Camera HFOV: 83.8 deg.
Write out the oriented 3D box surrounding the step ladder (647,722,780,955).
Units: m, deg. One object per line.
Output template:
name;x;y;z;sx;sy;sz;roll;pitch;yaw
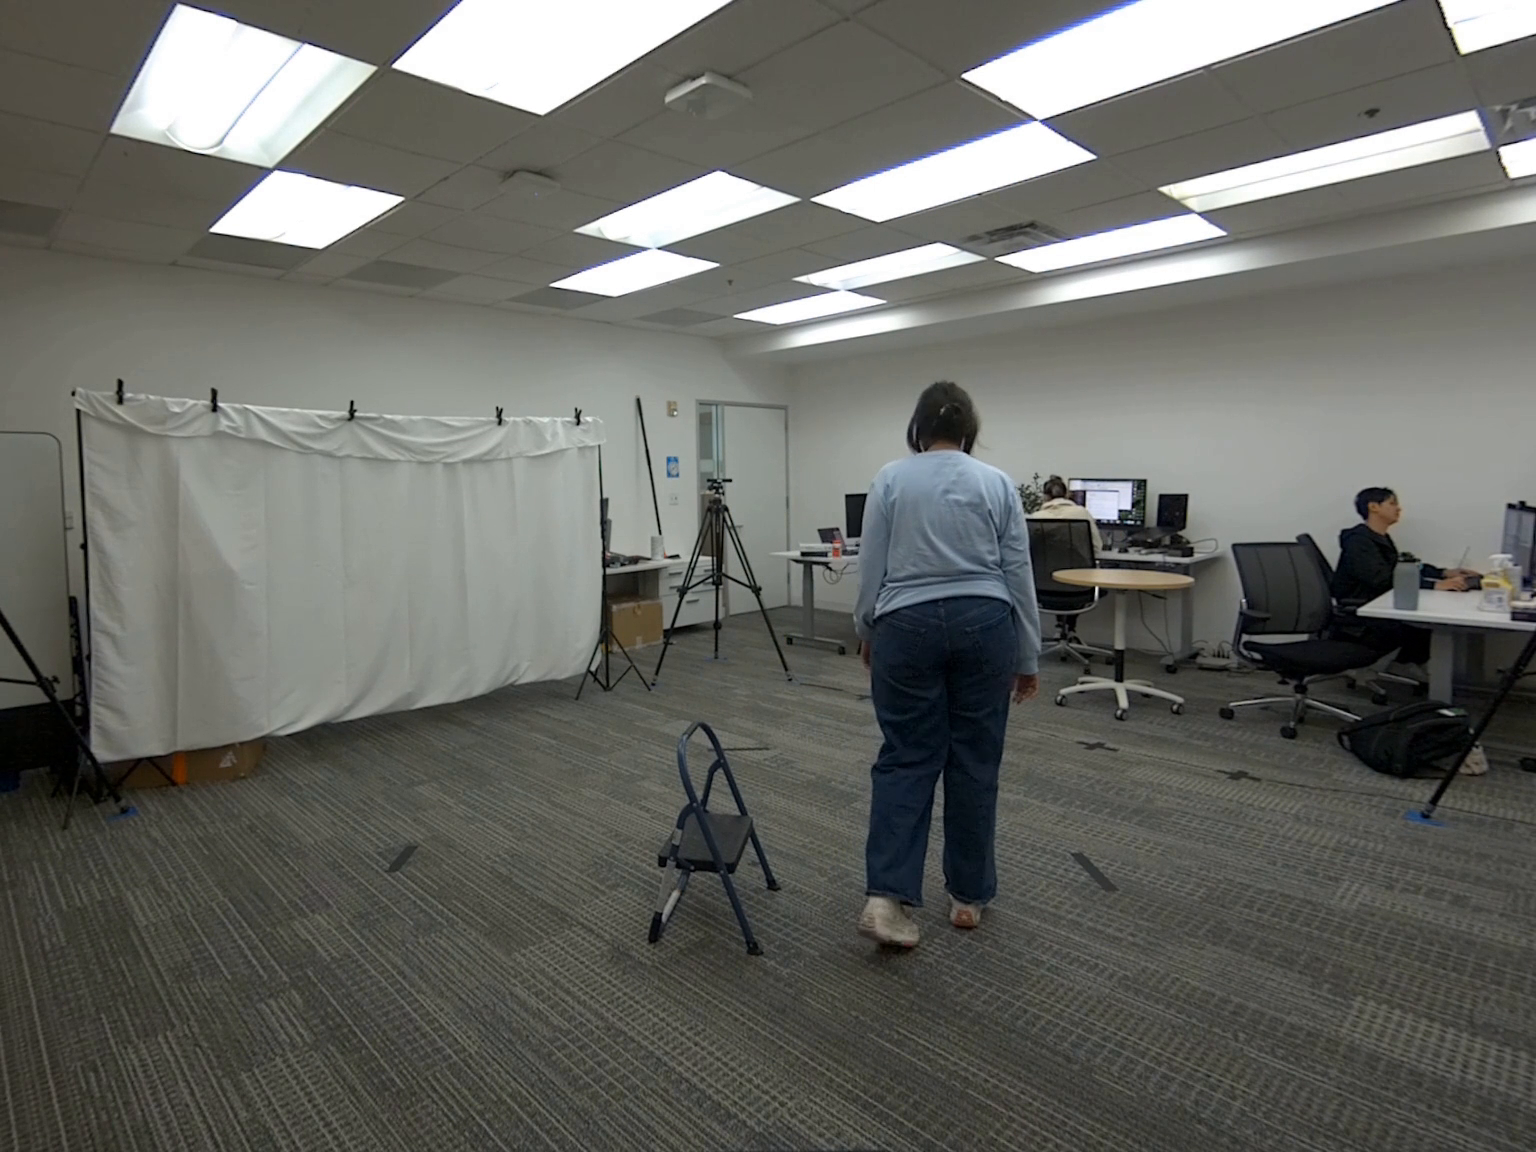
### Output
step ladder;-0.165;0.790;2.728;0.353;0.604;0.428;0;5;10
